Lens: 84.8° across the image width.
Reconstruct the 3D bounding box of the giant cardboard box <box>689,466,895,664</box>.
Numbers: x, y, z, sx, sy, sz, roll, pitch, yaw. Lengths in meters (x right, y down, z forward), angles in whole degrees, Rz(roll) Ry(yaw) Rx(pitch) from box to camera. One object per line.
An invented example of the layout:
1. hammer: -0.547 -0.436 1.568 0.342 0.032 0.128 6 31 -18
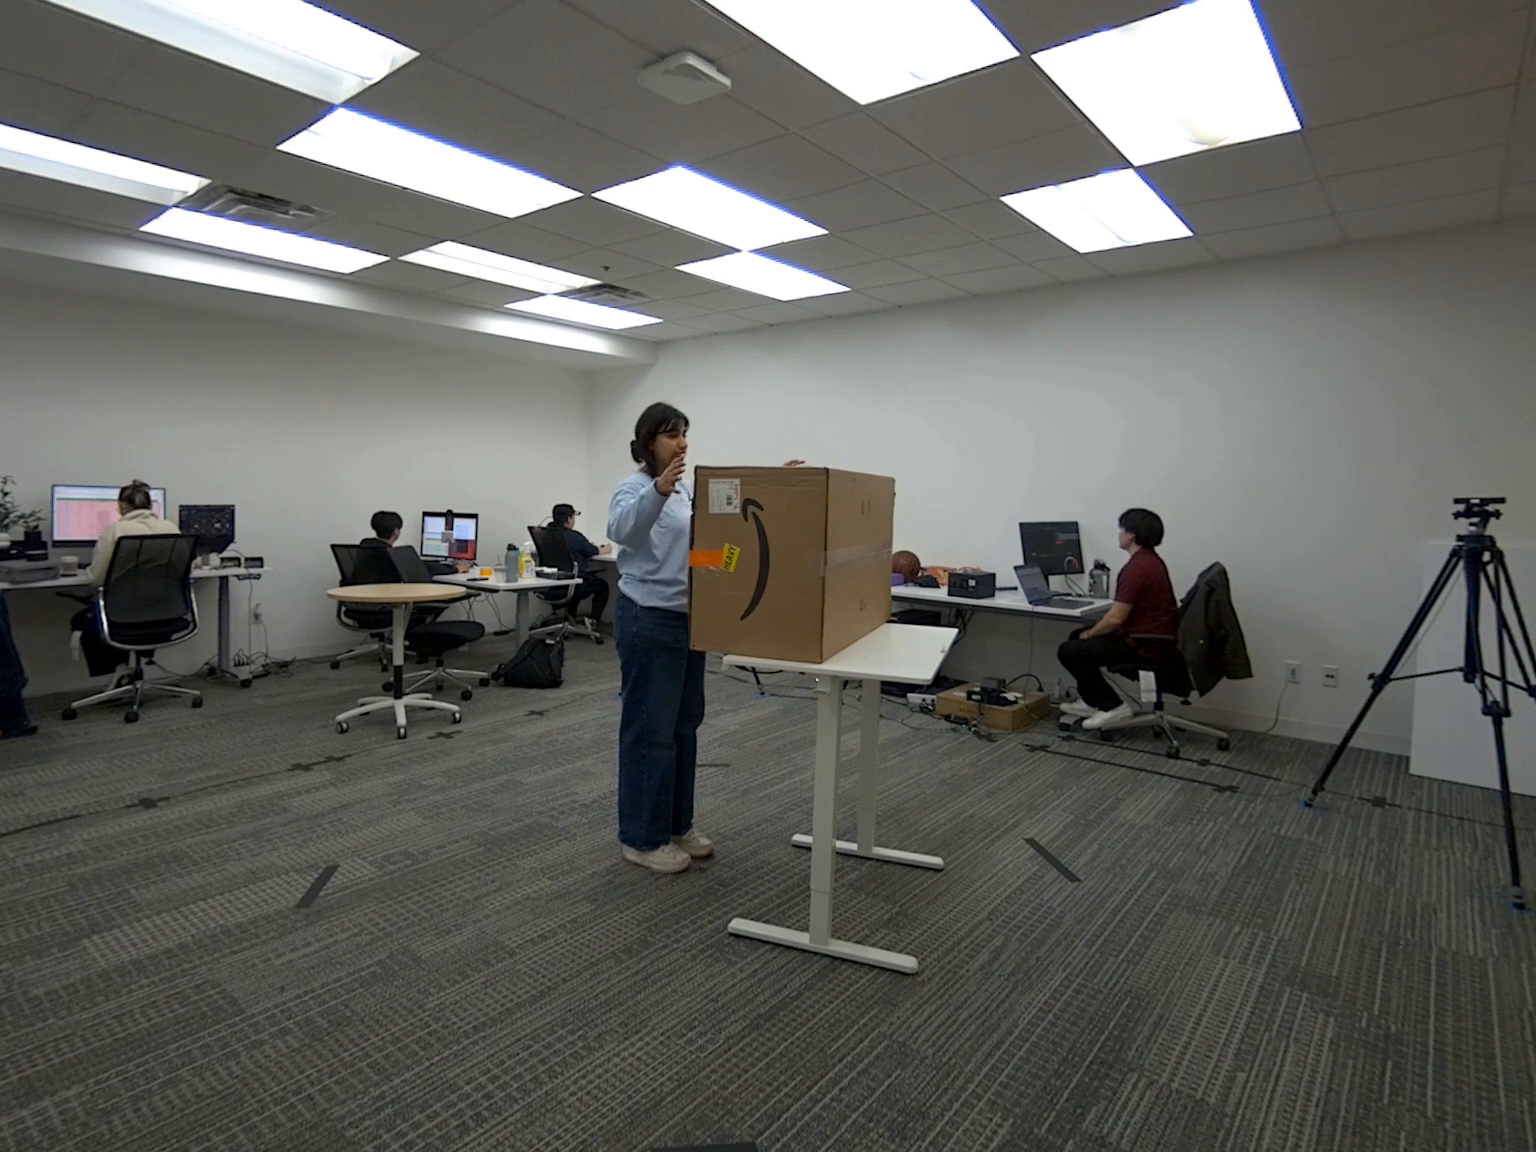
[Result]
1. giant cardboard box: 0.124 -0.080 3.000 0.436 0.575 1.007 3 5 19
